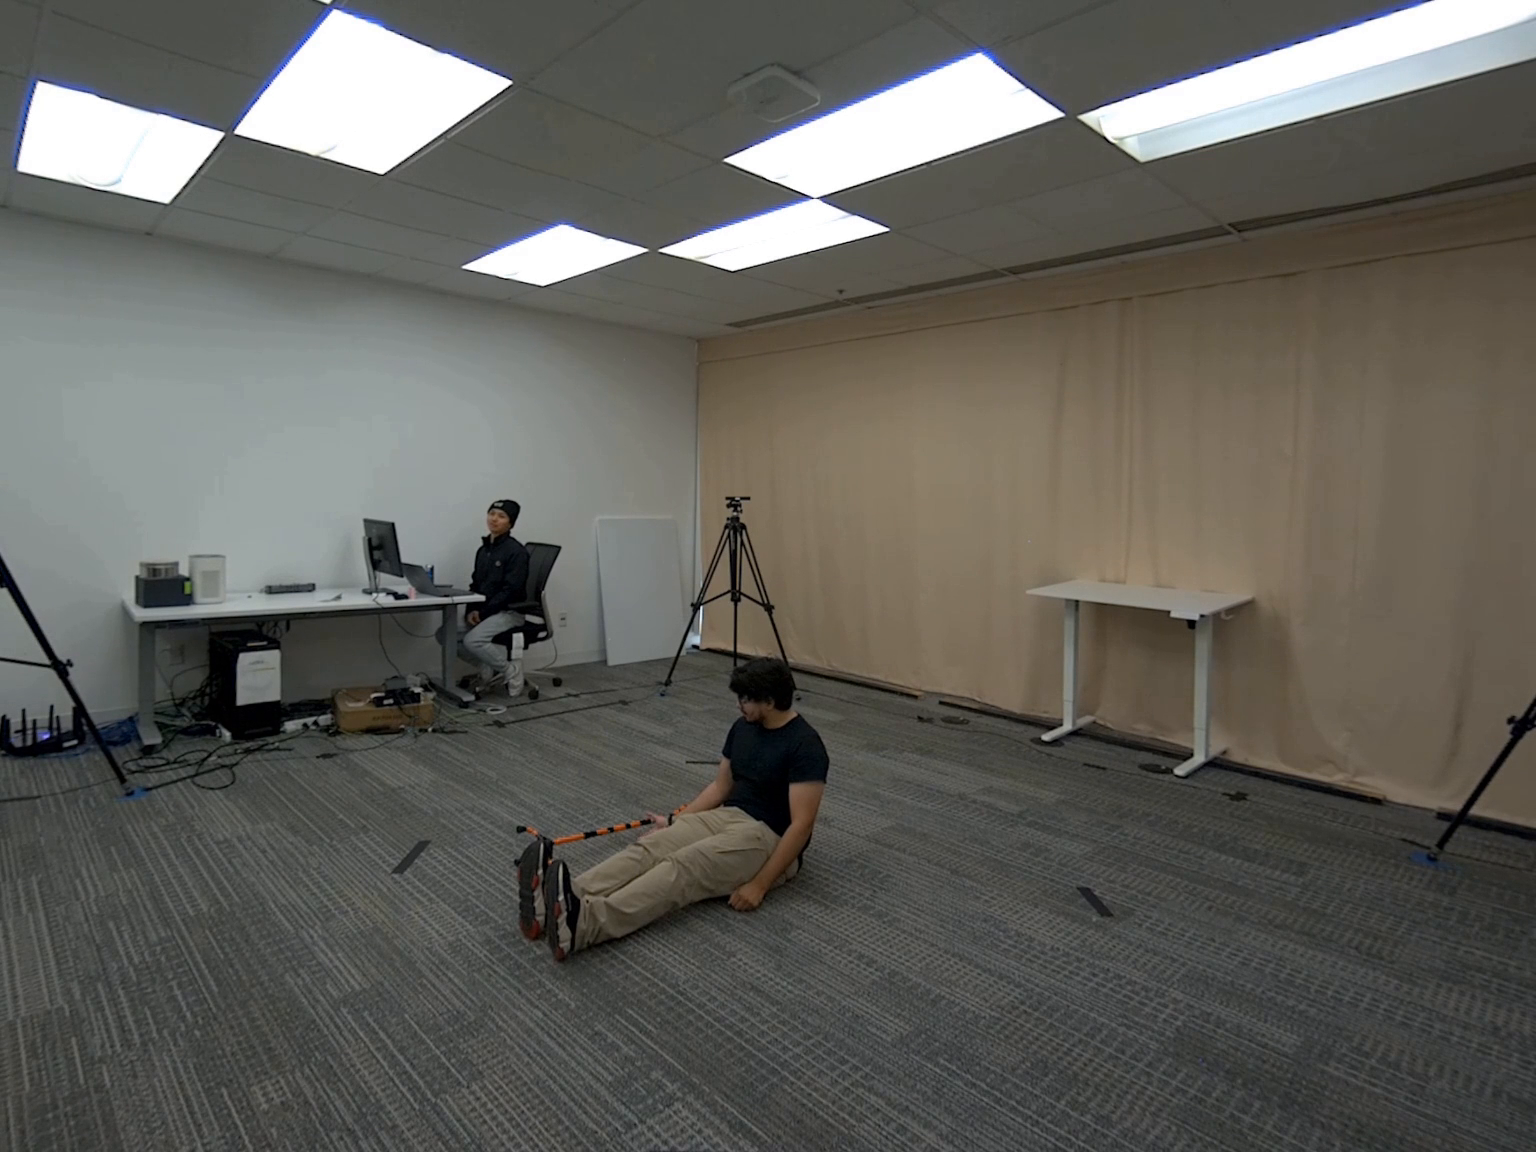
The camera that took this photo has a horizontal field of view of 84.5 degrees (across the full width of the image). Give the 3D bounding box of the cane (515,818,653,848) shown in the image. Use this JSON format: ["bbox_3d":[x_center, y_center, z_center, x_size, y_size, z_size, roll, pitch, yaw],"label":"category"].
[{"bbox_3d":[-0.572,1.019,3.404,0.211,0.152,0.885,4,0,43],"label":"cane"}]
